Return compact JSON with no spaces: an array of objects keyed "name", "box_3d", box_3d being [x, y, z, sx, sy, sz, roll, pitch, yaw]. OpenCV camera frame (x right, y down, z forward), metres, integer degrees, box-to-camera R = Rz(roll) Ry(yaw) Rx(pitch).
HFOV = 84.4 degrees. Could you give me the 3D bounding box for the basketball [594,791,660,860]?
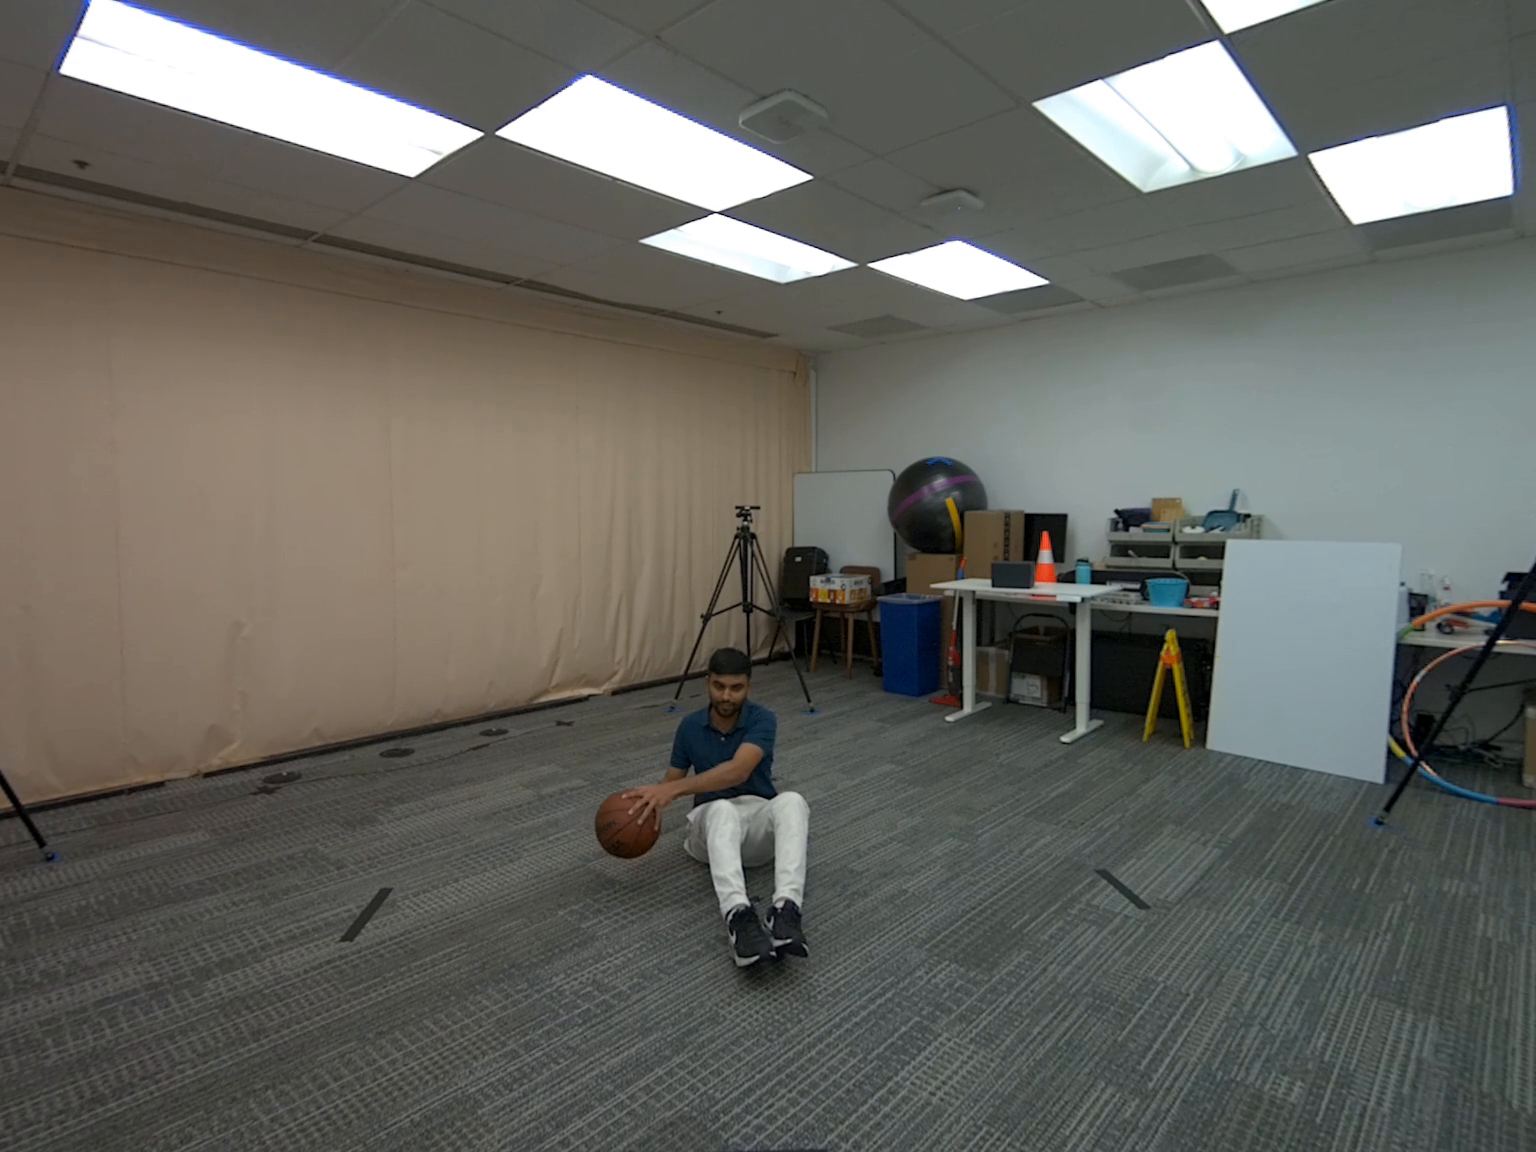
[{"name":"basketball","box_3d":[-0.476,0.876,3.013,0.236,0.235,0.237,0,4,-2]}]
